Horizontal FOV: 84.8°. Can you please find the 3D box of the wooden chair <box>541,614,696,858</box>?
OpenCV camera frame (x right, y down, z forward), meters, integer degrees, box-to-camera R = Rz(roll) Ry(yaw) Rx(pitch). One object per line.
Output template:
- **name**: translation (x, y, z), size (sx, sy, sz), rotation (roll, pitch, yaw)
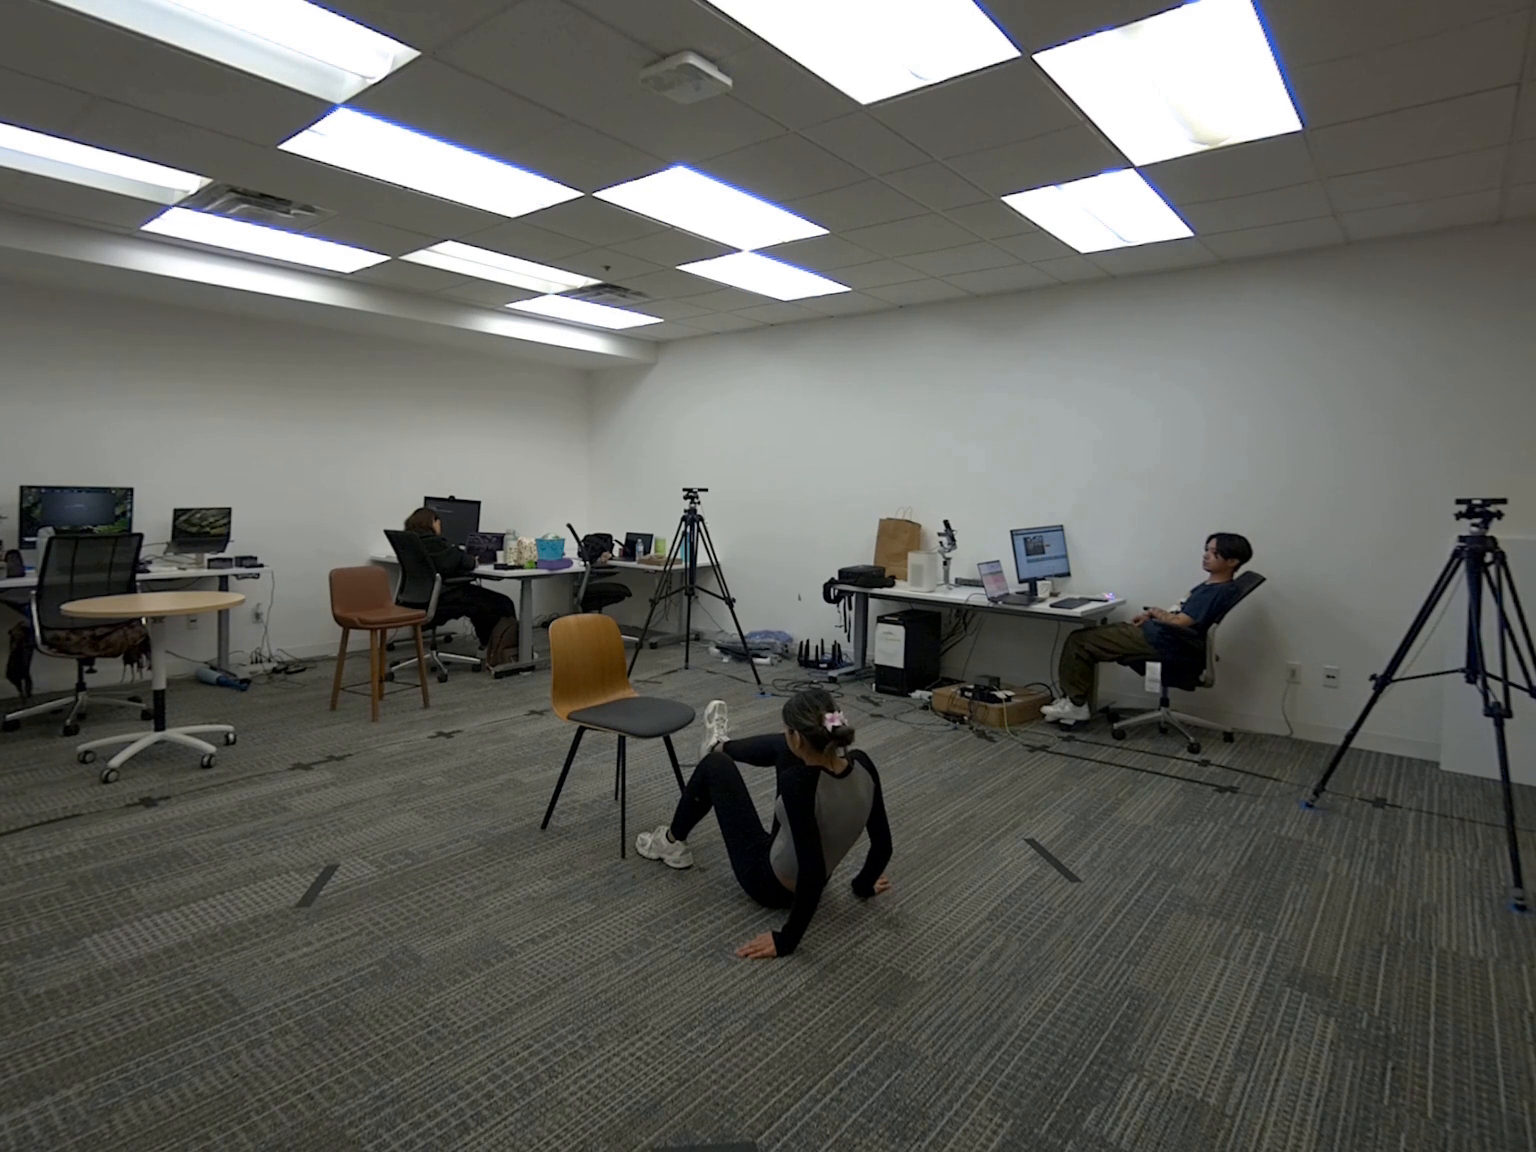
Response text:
- **wooden chair**: translation (-0.605, 0.600, 3.462), size (0.538, 0.877, 0.464), rotation (-2, 1, 35)
